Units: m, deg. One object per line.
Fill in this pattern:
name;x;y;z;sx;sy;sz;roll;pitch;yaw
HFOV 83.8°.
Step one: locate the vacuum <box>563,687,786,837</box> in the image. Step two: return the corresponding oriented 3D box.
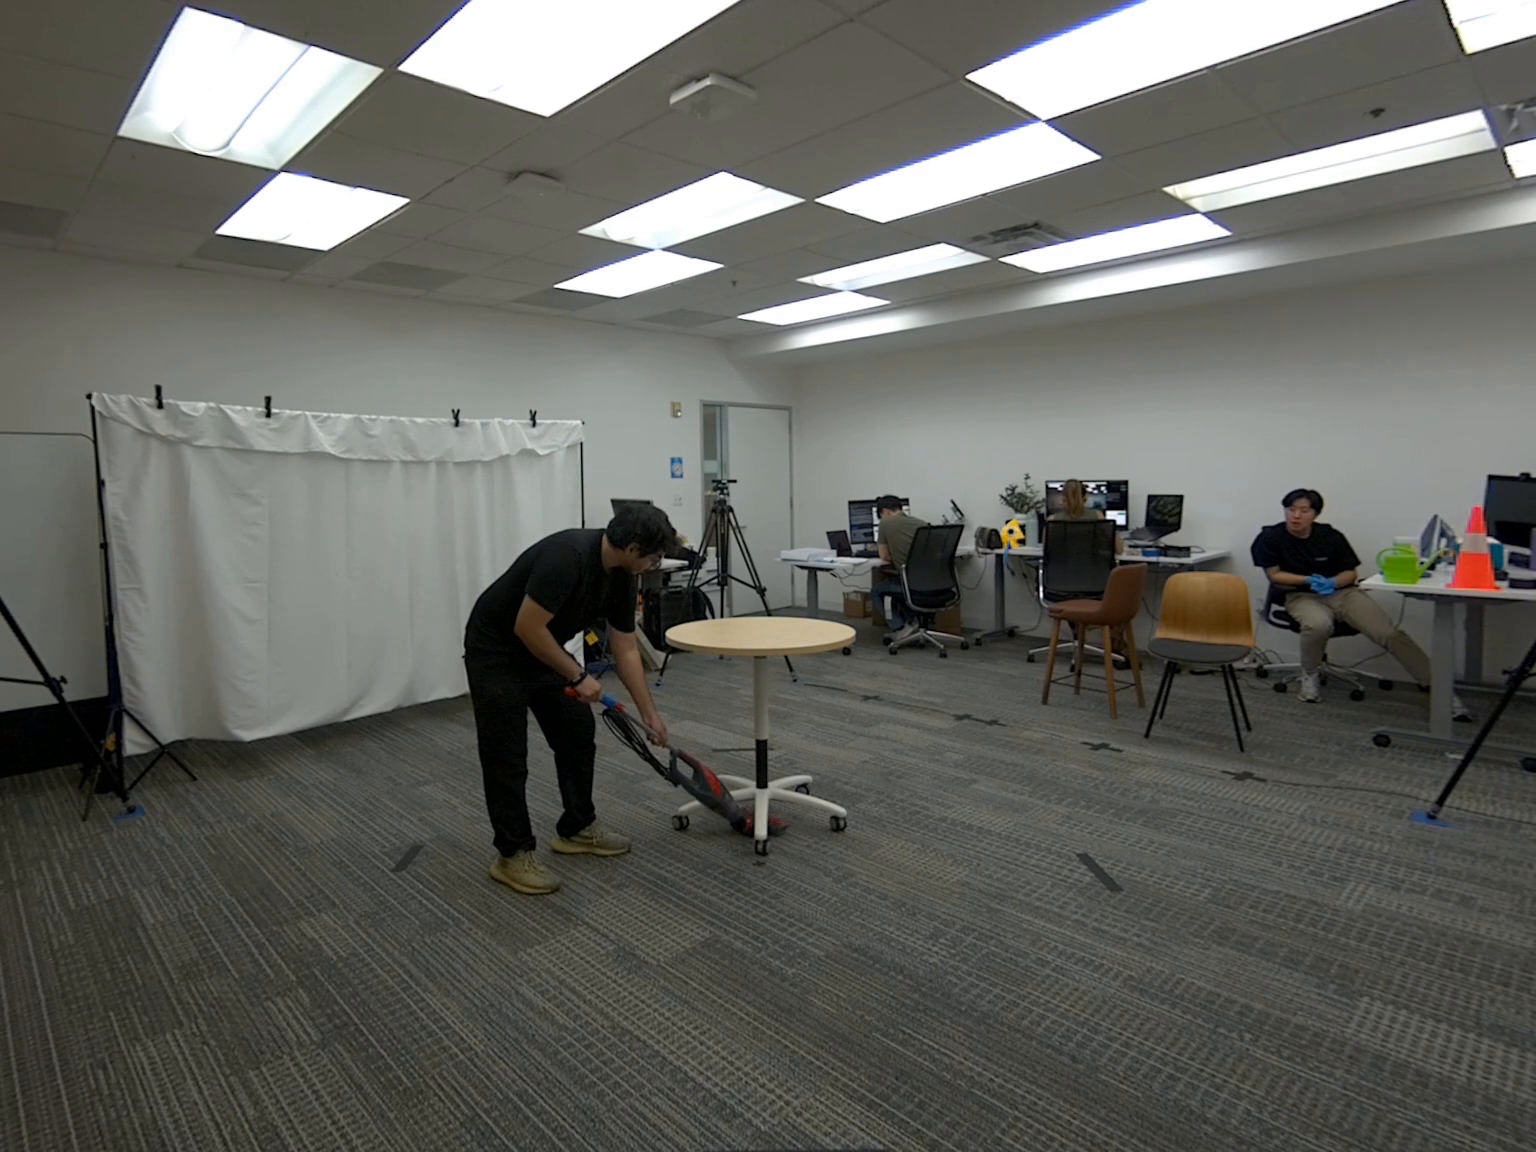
vacuum;-0.377;0.676;3.166;0.259;0.145;1.013;-6;-40;48
